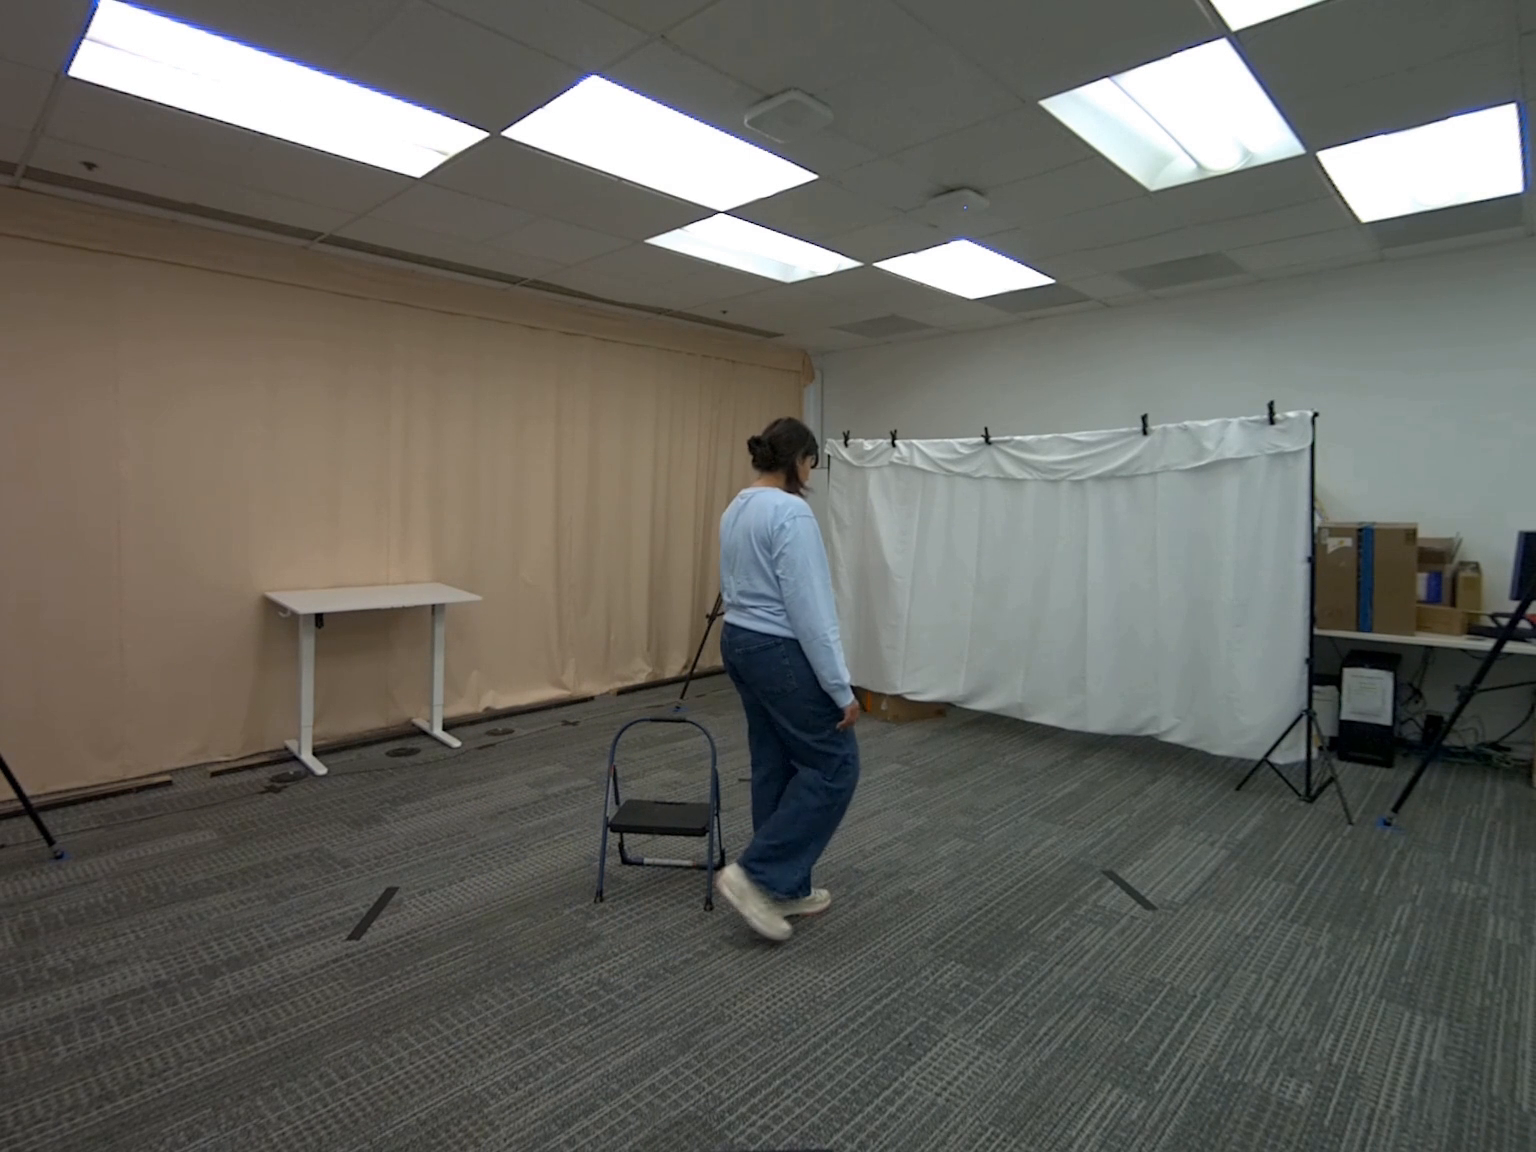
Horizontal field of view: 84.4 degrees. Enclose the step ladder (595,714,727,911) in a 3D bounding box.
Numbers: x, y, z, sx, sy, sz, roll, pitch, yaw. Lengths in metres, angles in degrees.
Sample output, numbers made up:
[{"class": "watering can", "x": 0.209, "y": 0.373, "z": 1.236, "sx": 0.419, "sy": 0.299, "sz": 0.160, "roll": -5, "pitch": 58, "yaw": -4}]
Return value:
[{"class": "step ladder", "x": -0.388, "y": 0.834, "z": 3.092, "sx": 0.435, "sy": 0.605, "sz": 0.347, "roll": 0, "pitch": 3, "yaw": 8}]
